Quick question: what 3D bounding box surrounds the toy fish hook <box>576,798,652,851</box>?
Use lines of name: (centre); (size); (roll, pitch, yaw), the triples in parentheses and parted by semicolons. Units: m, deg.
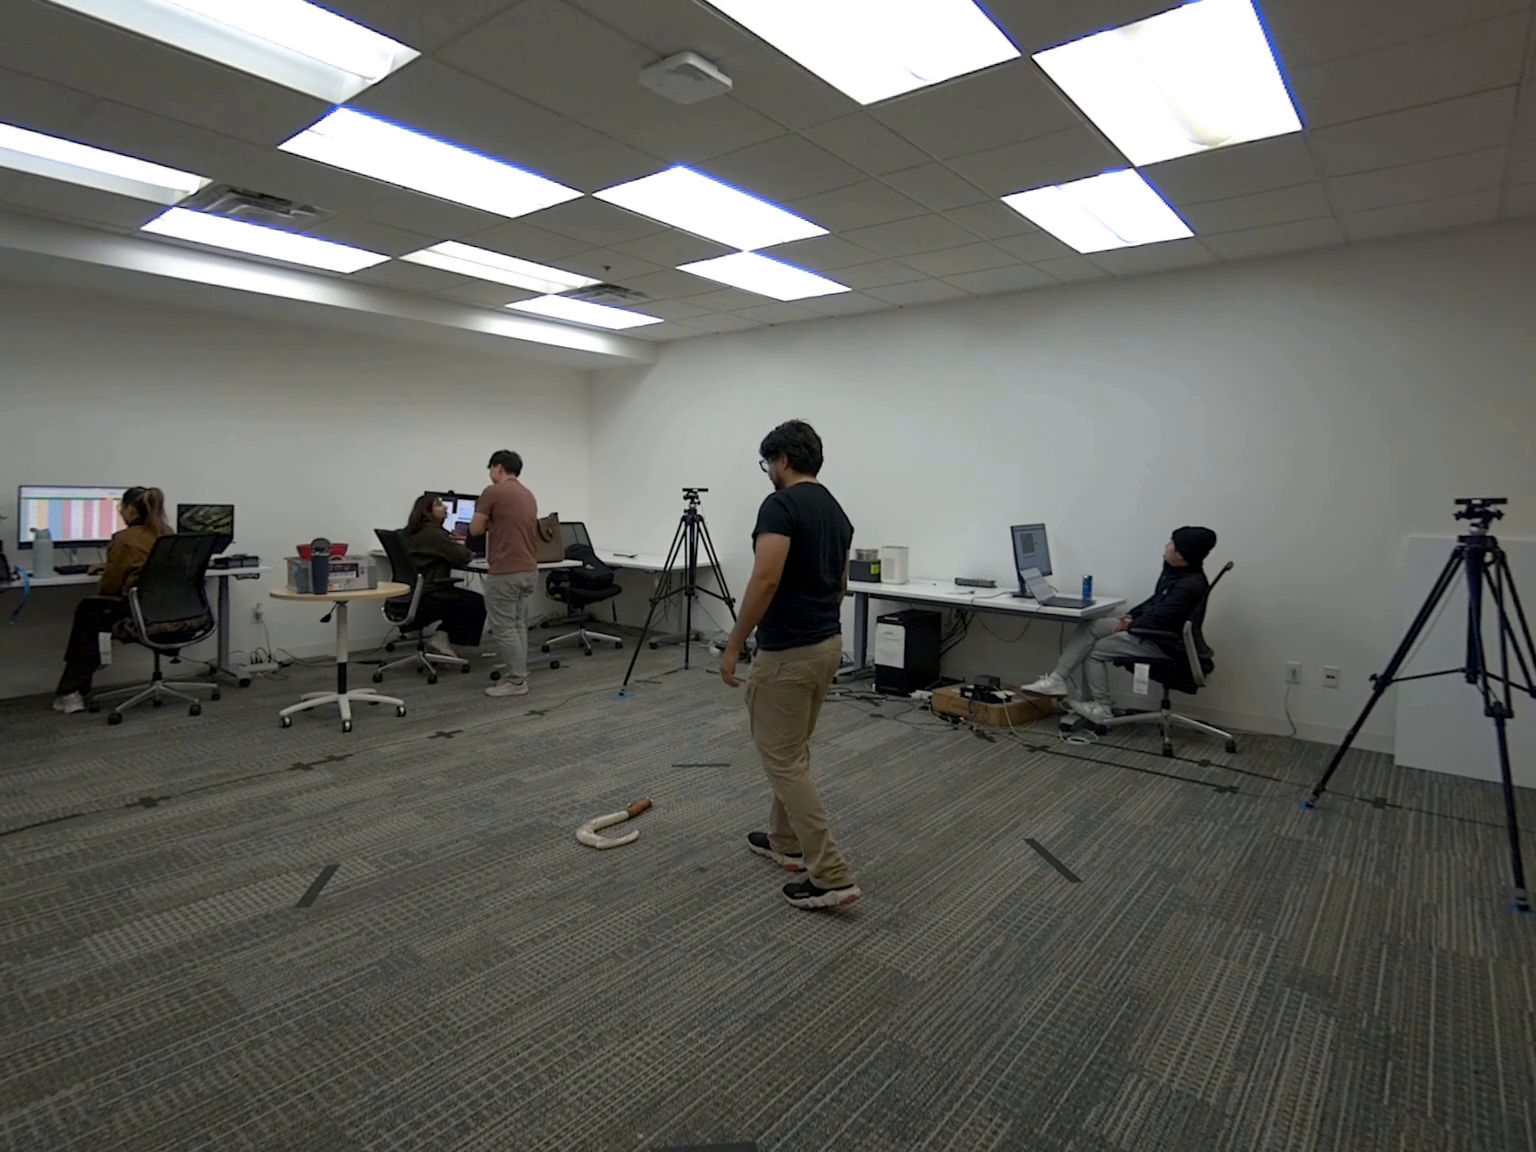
toy fish hook: (-0.590, 1.010, 3.499); (0.231, 0.048, 0.495); (11, 10, 26)
